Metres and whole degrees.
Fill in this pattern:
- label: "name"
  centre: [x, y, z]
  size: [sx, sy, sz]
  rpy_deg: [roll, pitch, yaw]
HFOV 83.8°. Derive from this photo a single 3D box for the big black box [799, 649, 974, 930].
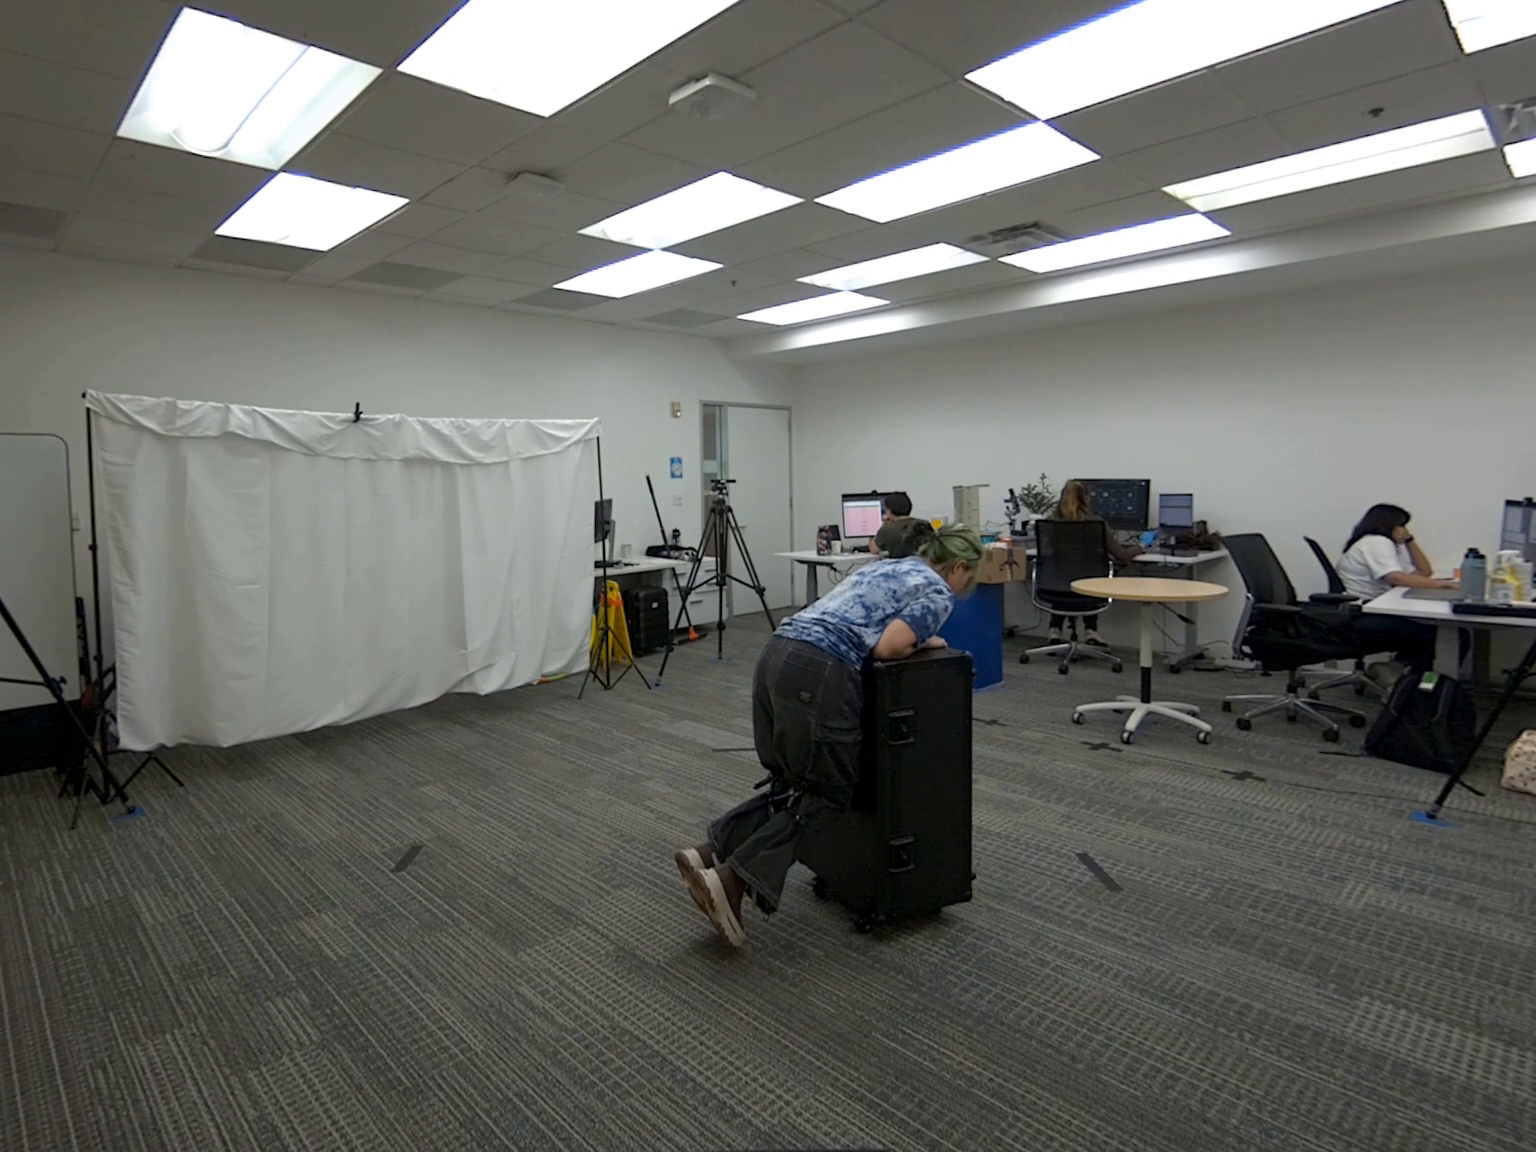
- label: "big black box"
  centre: [0.382, 0.598, 2.796]
  size: [0.388, 0.858, 0.534]
  rpy_deg: [-2, 5, -26]
